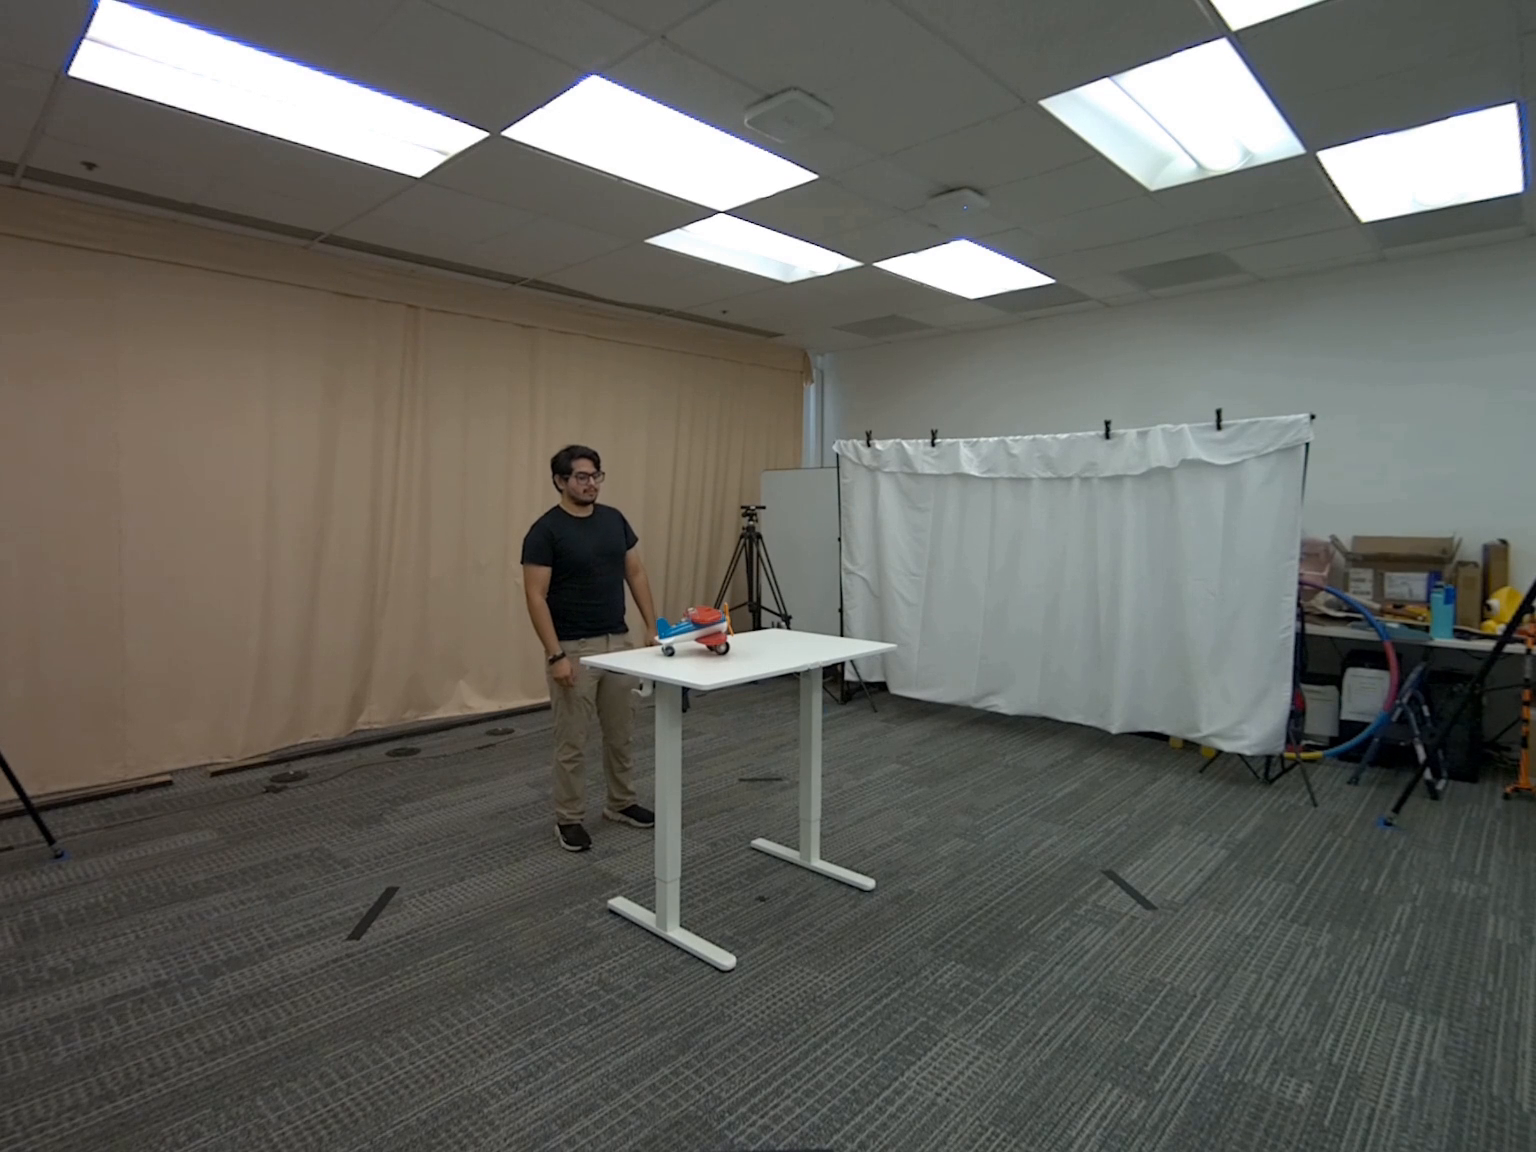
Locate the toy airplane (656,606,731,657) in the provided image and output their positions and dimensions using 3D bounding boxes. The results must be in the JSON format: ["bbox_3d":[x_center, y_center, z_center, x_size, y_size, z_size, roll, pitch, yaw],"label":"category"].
[{"bbox_3d":[-0.240,0.193,2.852,0.259,0.156,0.251,3,5,41],"label":"toy airplane"}]
